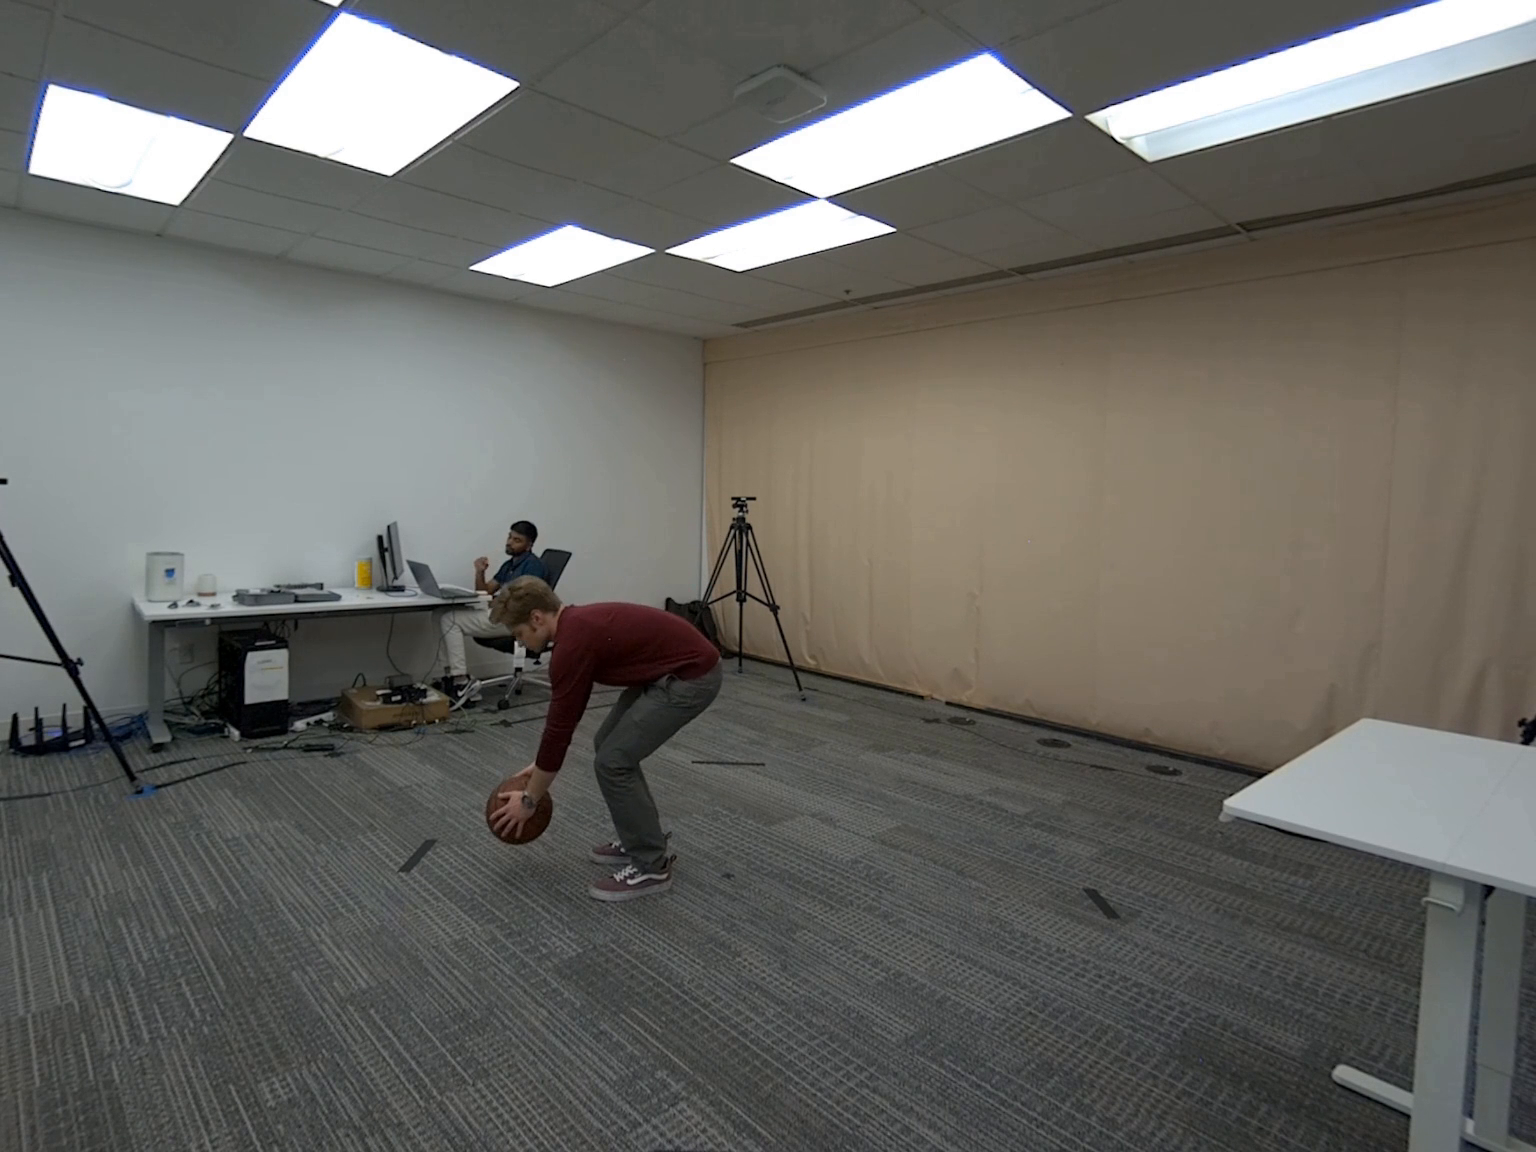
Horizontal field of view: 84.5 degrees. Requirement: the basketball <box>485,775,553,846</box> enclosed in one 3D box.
[{"bbox_3d":[-0.910,0.843,3.073,0.236,0.235,0.237,1,4,-1],"label":"basketball"}]
